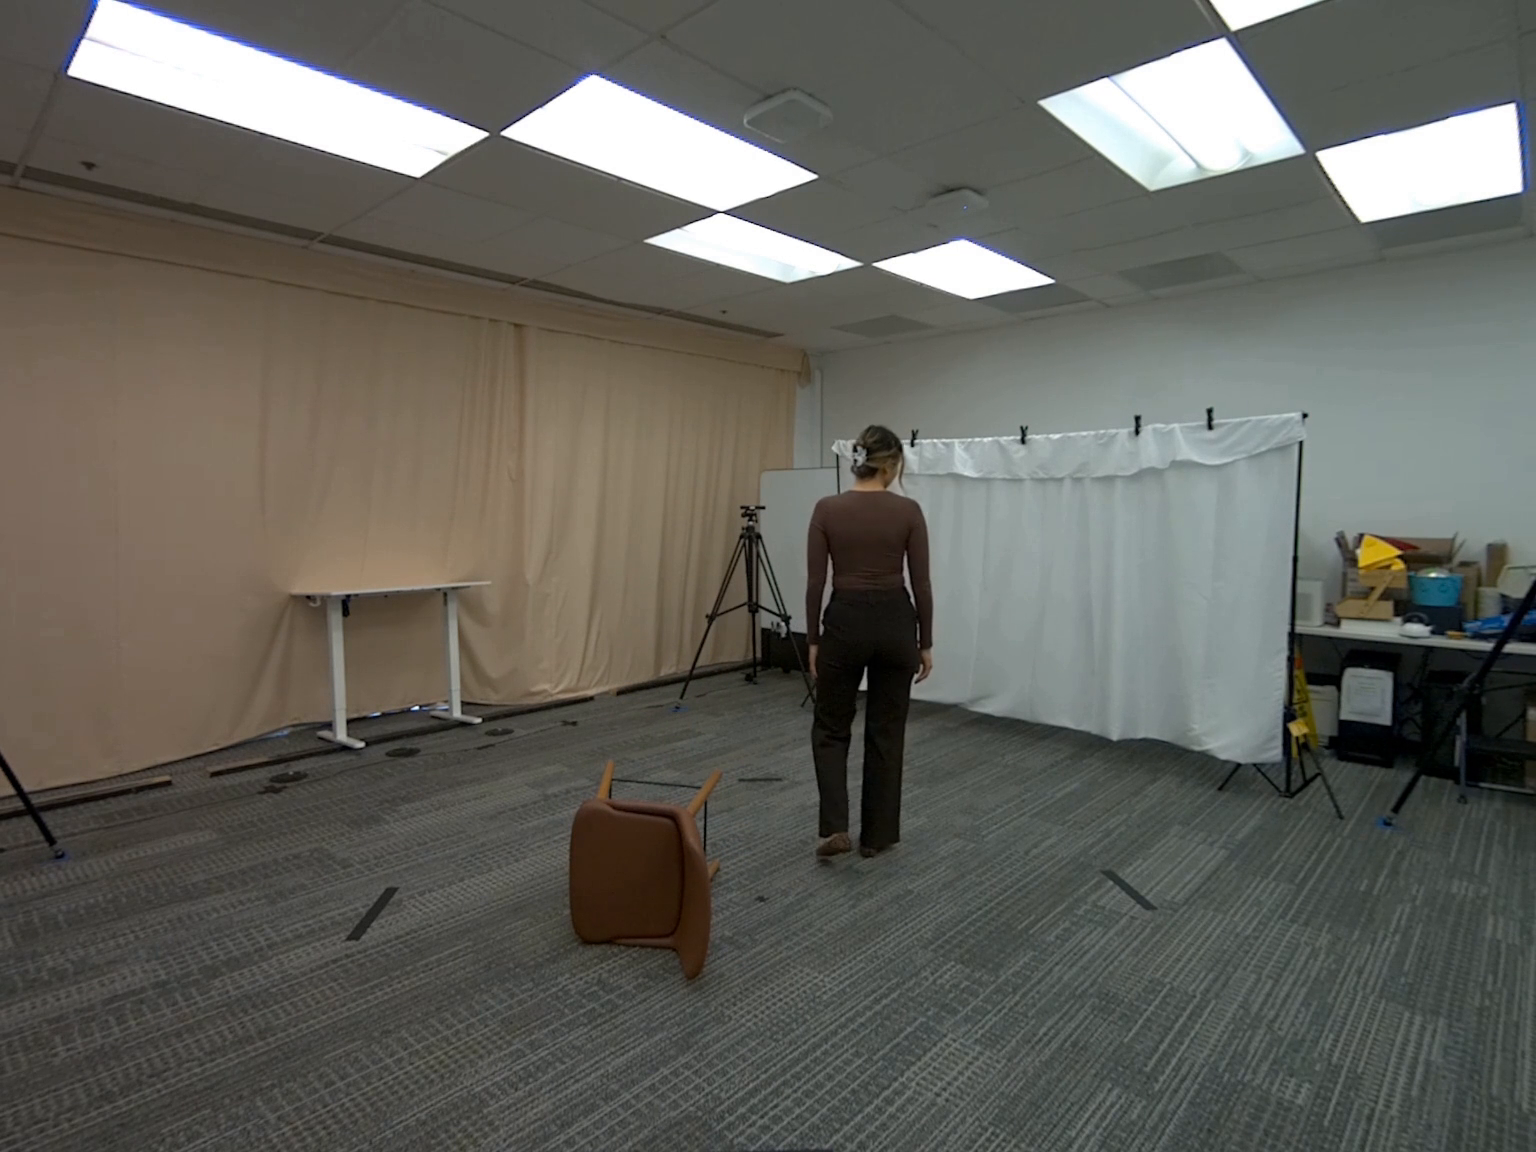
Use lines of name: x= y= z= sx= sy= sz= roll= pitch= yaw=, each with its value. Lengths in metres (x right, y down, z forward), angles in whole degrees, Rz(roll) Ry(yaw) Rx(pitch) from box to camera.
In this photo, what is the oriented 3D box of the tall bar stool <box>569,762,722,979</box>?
tall bar stool: x=-0.405 y=0.946 z=2.829 sx=0.468 sy=0.456 sz=0.889 roll=2 pitch=2 yaw=0
